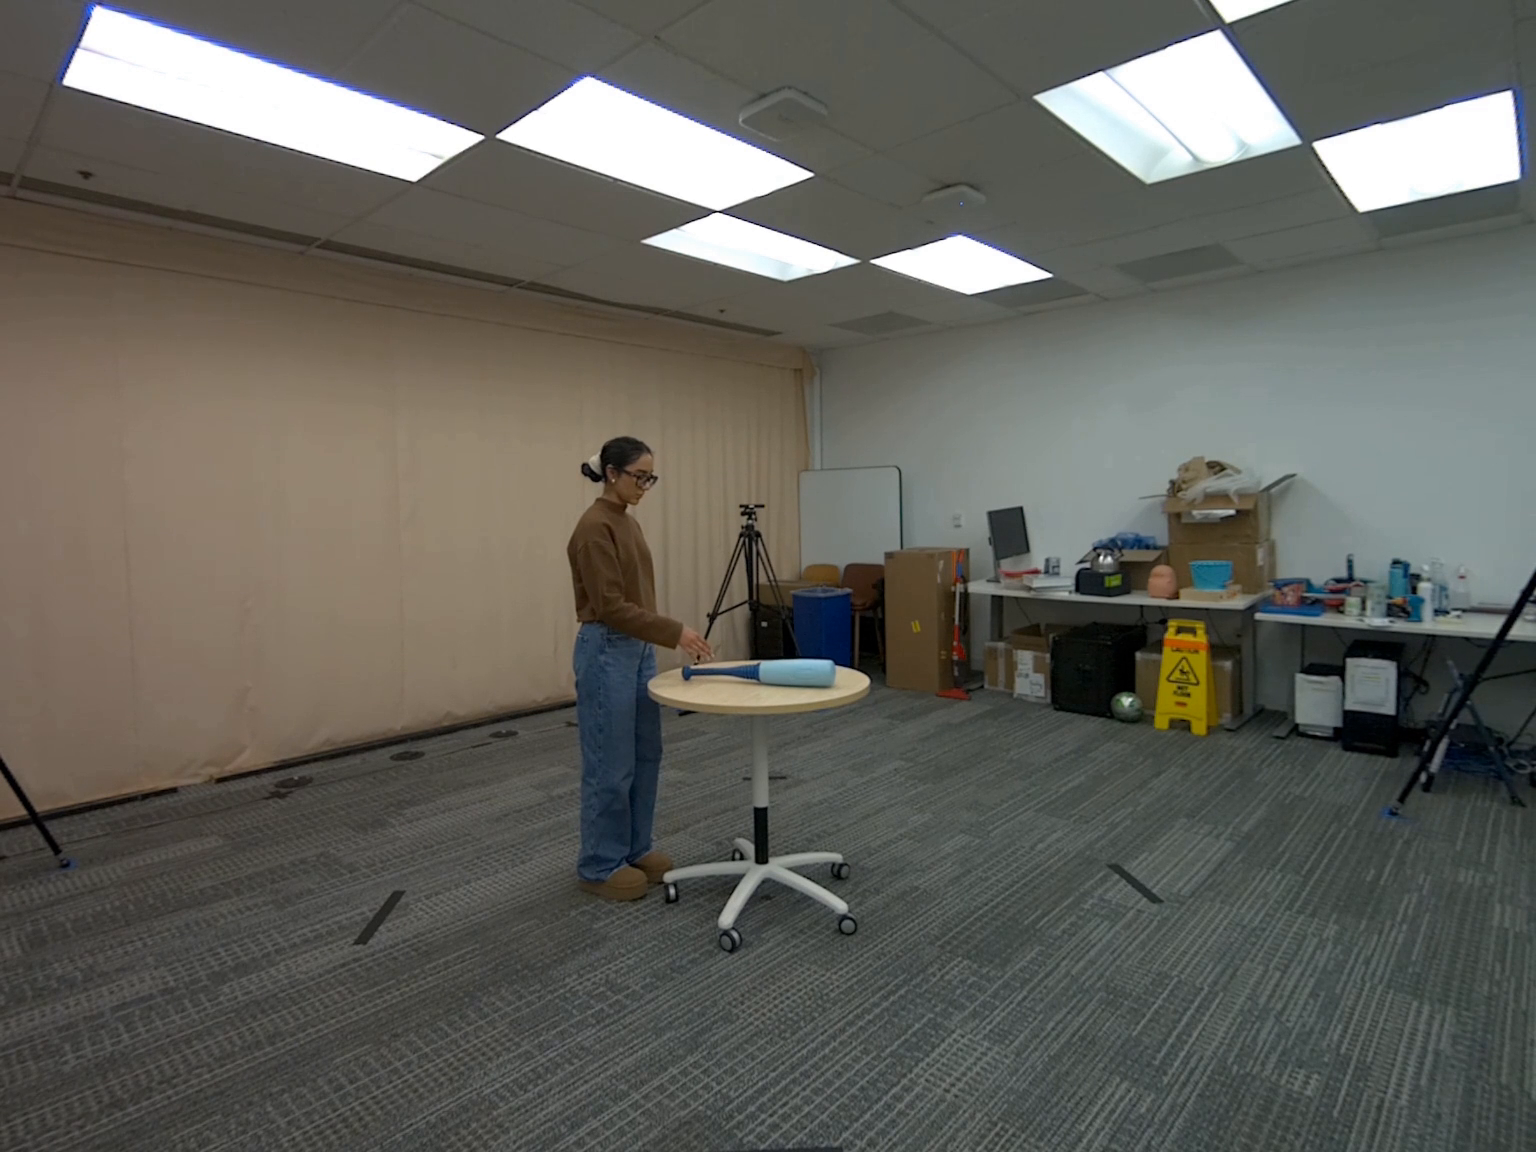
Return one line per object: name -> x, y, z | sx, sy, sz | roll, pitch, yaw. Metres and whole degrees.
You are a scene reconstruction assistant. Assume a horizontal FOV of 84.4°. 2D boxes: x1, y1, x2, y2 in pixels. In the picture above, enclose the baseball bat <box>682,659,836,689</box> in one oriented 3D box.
baseball bat -> -0.038, 0.334, 2.861 | 0.554, 0.089, 0.087 | -3, 3, 20
